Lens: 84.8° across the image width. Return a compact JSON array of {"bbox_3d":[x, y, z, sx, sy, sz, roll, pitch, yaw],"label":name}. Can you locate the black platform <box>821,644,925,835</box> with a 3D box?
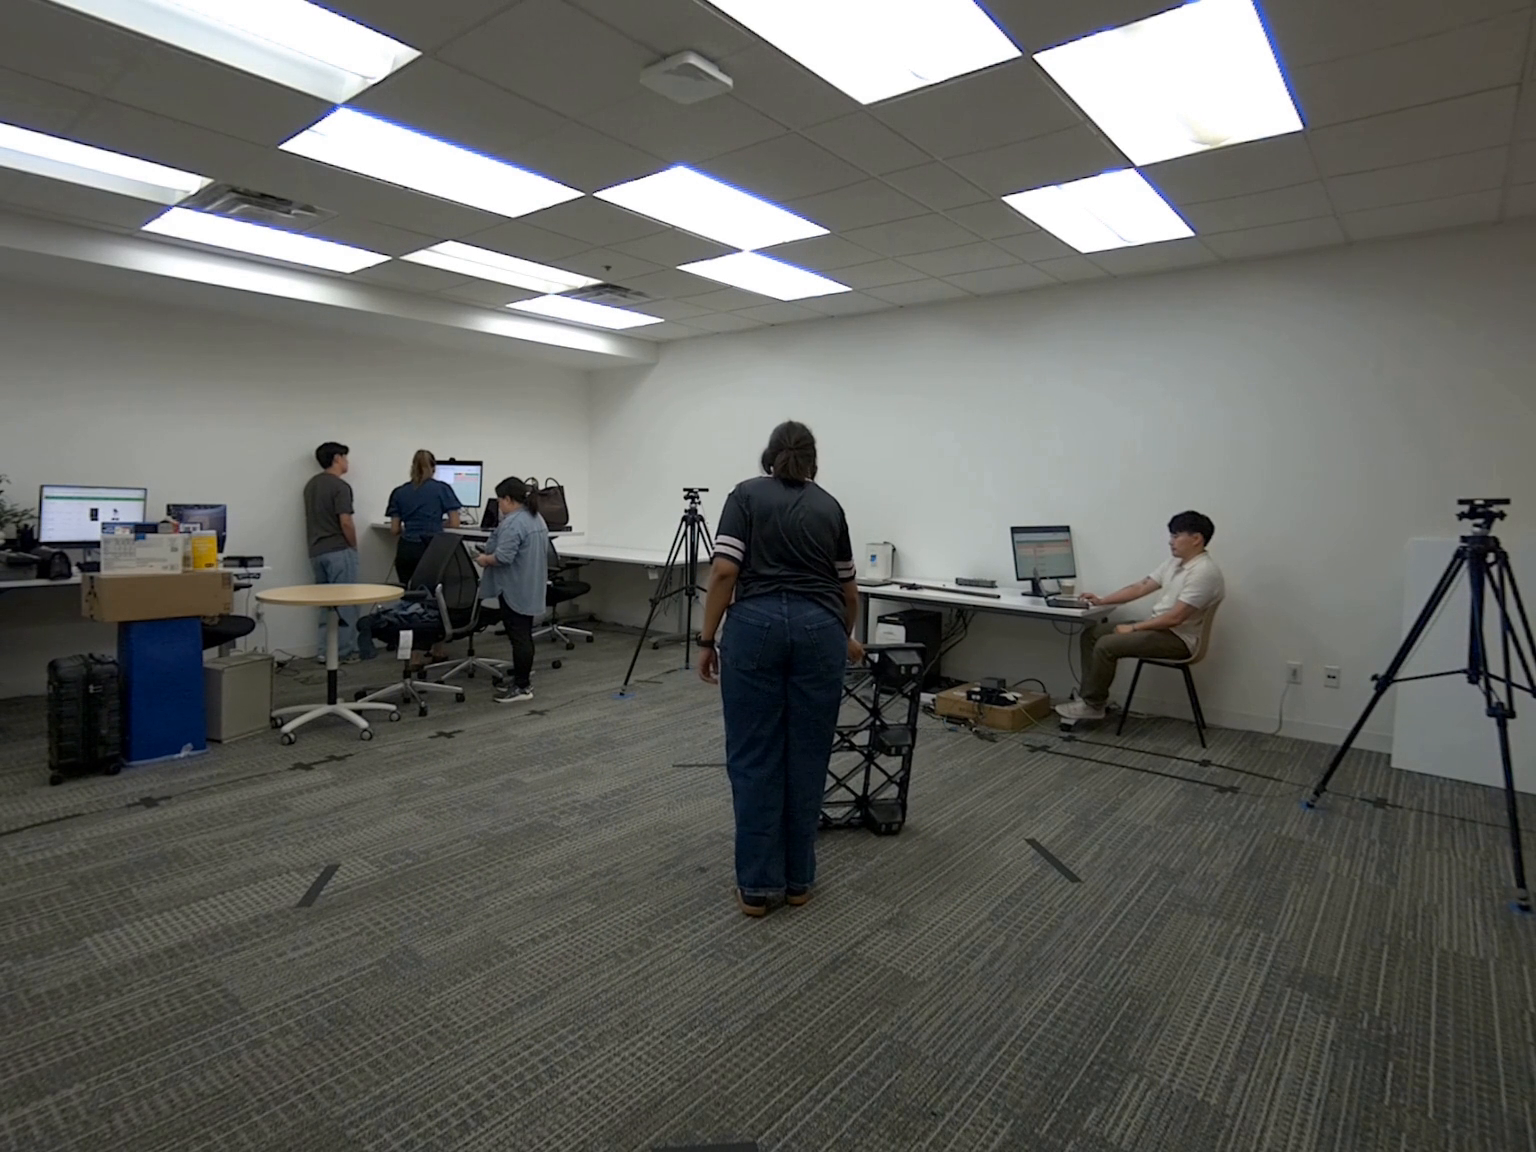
[{"bbox_3d":[0.316,0.664,3.392,0.597,0.796,0.147,0,13,-12],"label":"black platform"}]
